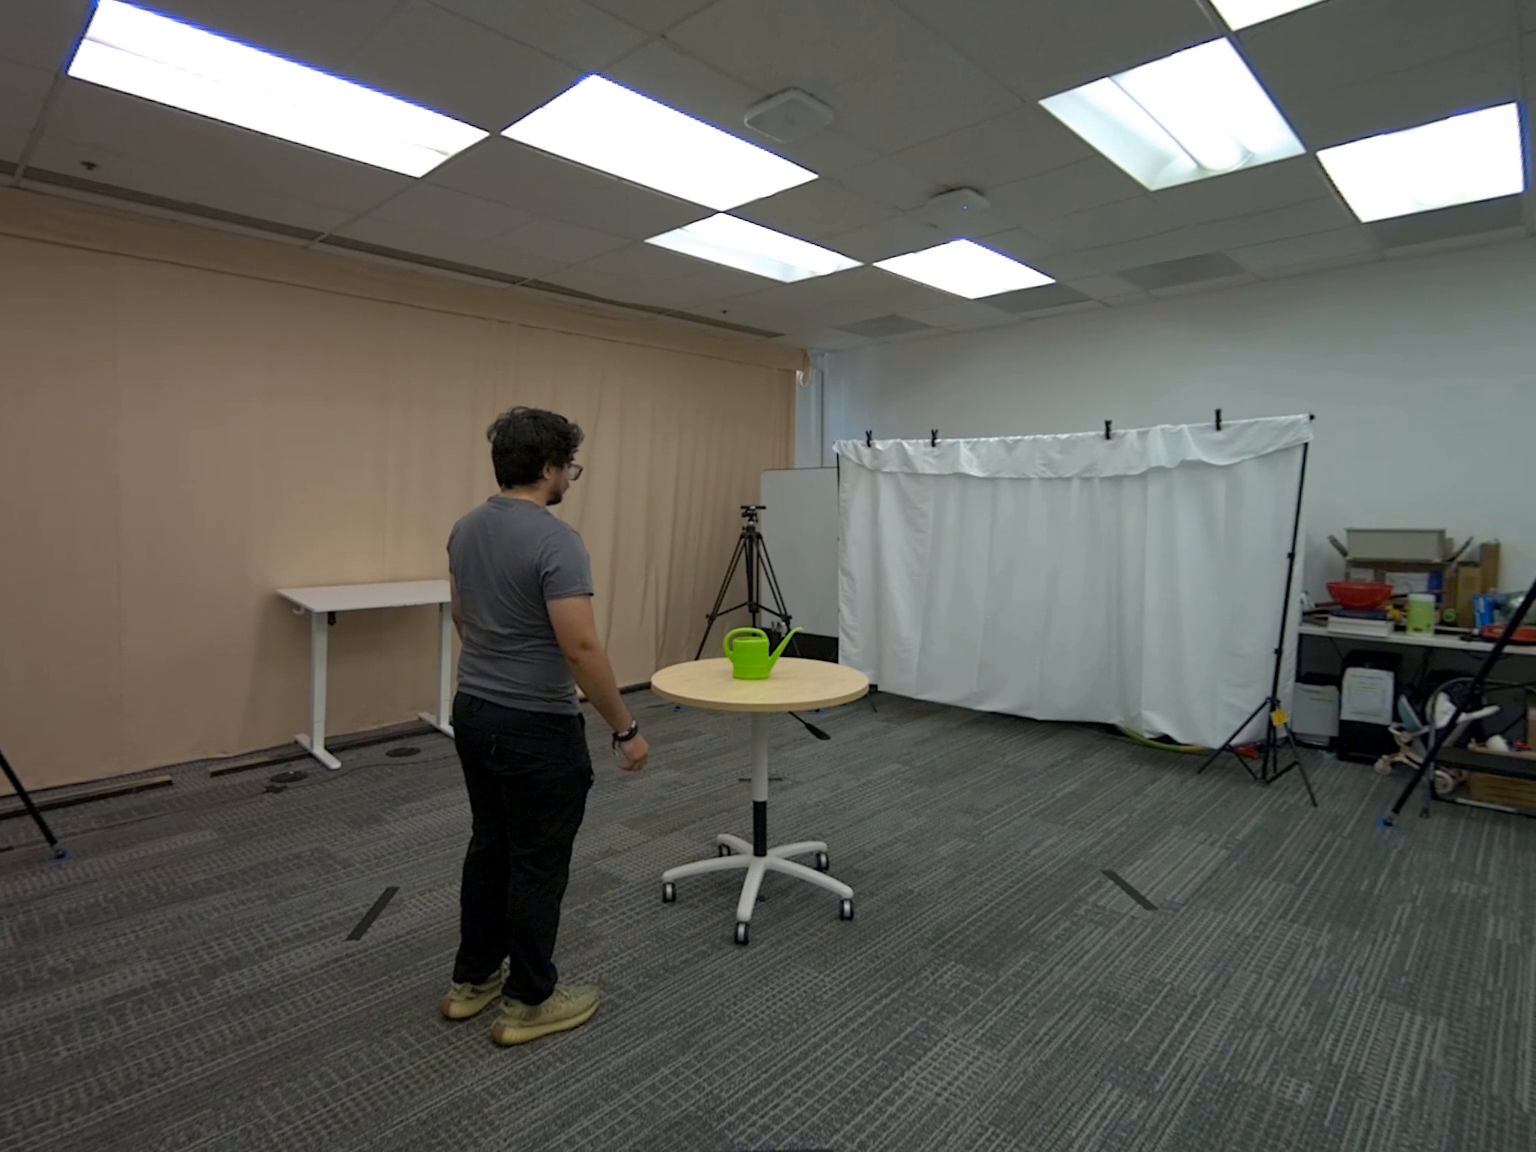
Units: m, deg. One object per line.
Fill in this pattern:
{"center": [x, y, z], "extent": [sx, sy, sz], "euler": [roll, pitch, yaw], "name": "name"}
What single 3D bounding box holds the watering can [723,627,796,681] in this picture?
{"center": [-0.008, 0.279, 2.964], "extent": [0.284, 0.176, 0.096], "euler": [2, 5, 18], "name": "watering can"}
